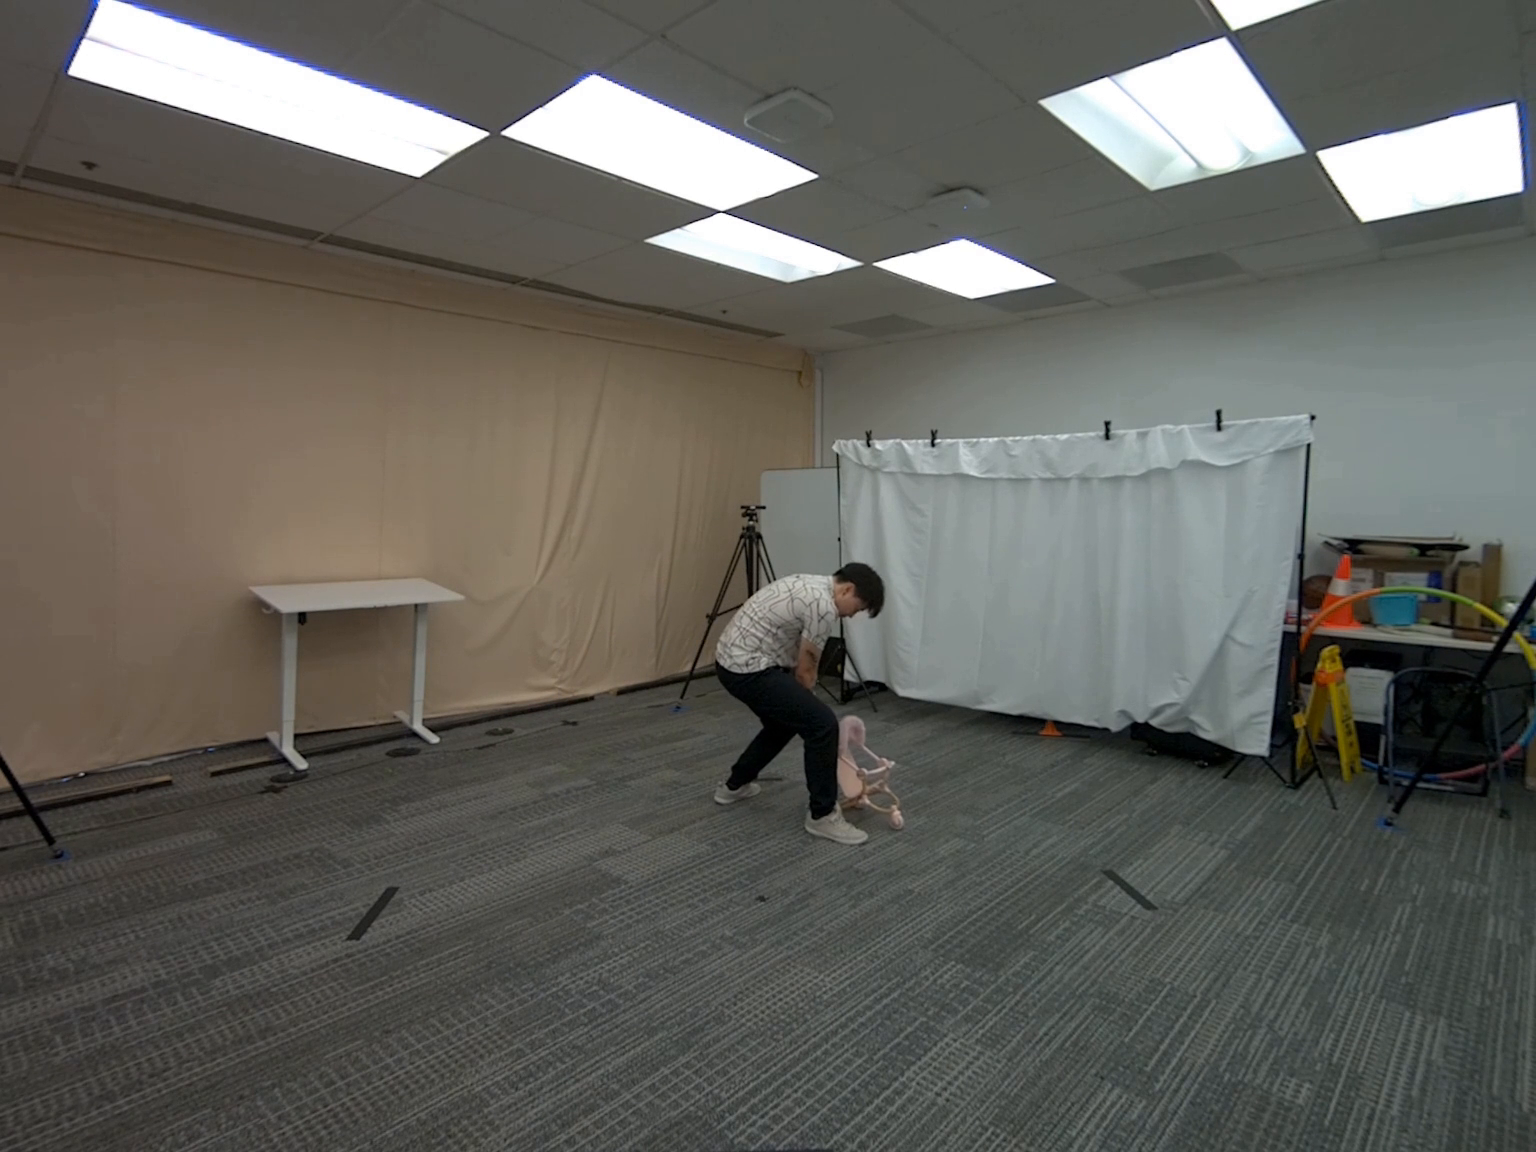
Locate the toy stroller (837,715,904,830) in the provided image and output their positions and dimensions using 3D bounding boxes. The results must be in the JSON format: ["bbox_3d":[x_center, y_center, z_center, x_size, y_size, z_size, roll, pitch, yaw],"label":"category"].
[{"bbox_3d":[0.397,0.858,3.738,0.349,0.539,0.273,-21,-11,41],"label":"toy stroller"}]
